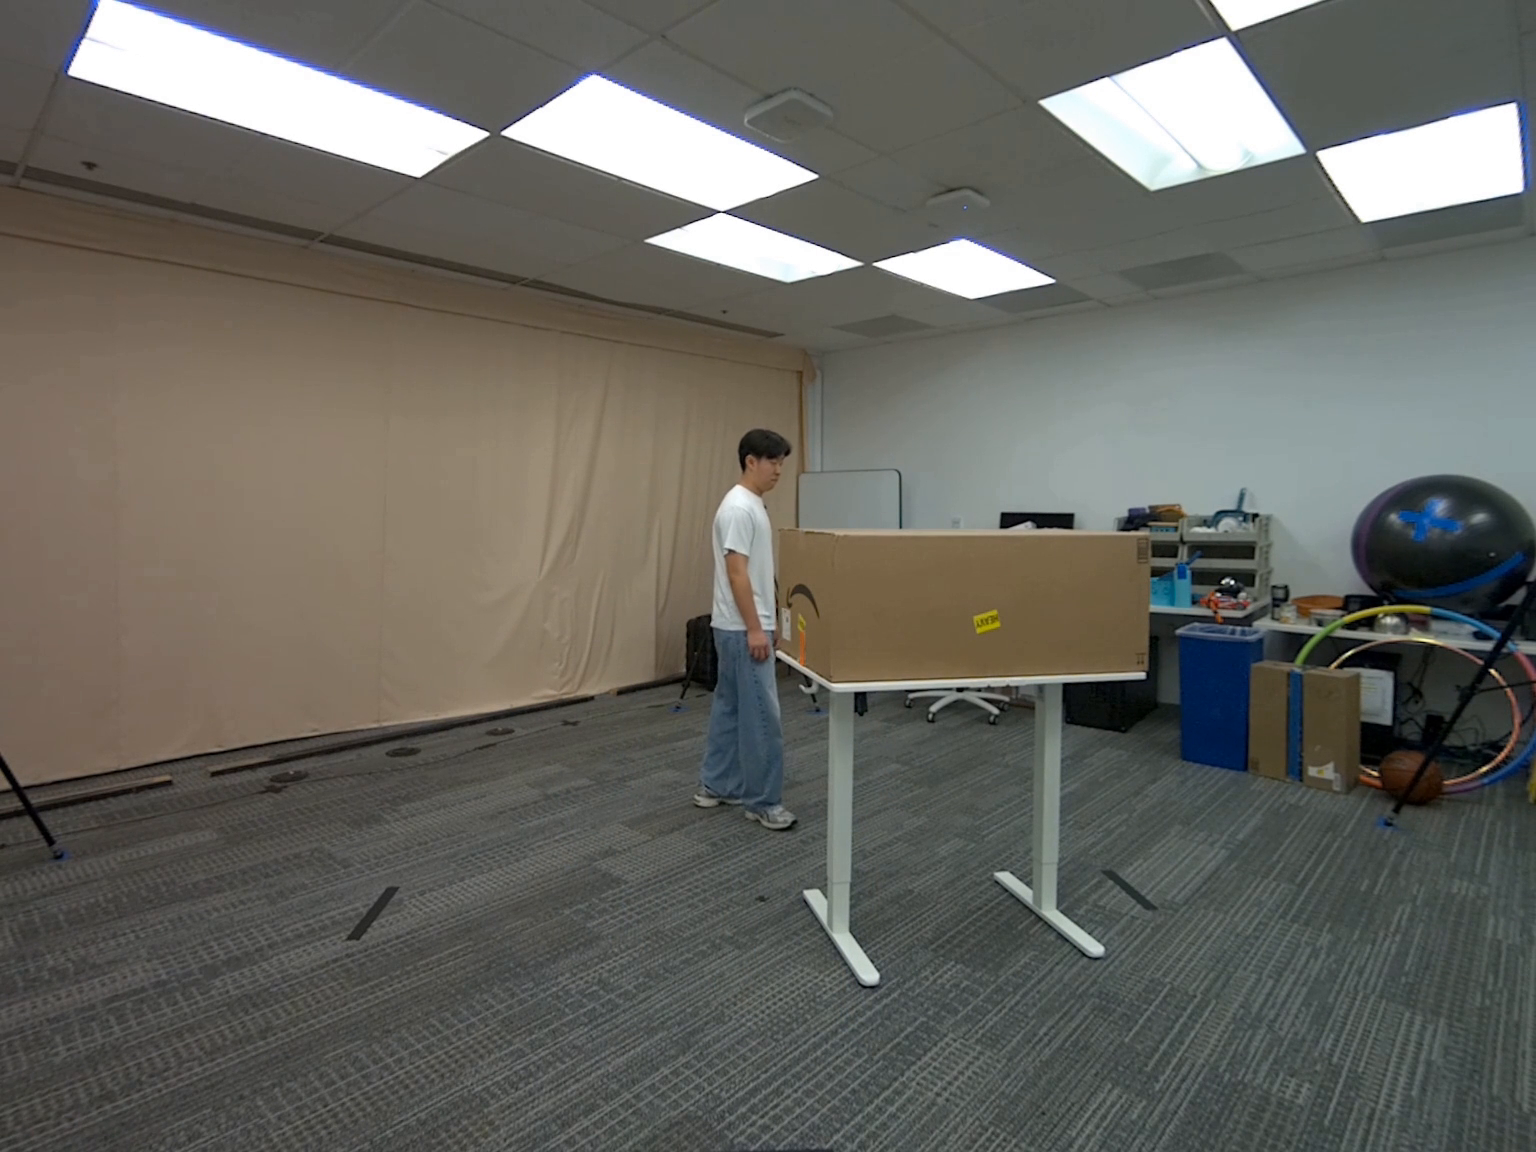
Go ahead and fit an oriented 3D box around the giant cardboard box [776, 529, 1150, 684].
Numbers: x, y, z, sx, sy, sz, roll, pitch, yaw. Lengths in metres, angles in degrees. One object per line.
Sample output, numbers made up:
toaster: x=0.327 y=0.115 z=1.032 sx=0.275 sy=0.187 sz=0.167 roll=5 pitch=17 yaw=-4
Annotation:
giant cardboard box: x=0.607 y=0.069 z=2.751 sx=1.013 sy=0.425 sz=0.586 roll=0 pitch=4 yaw=-12
